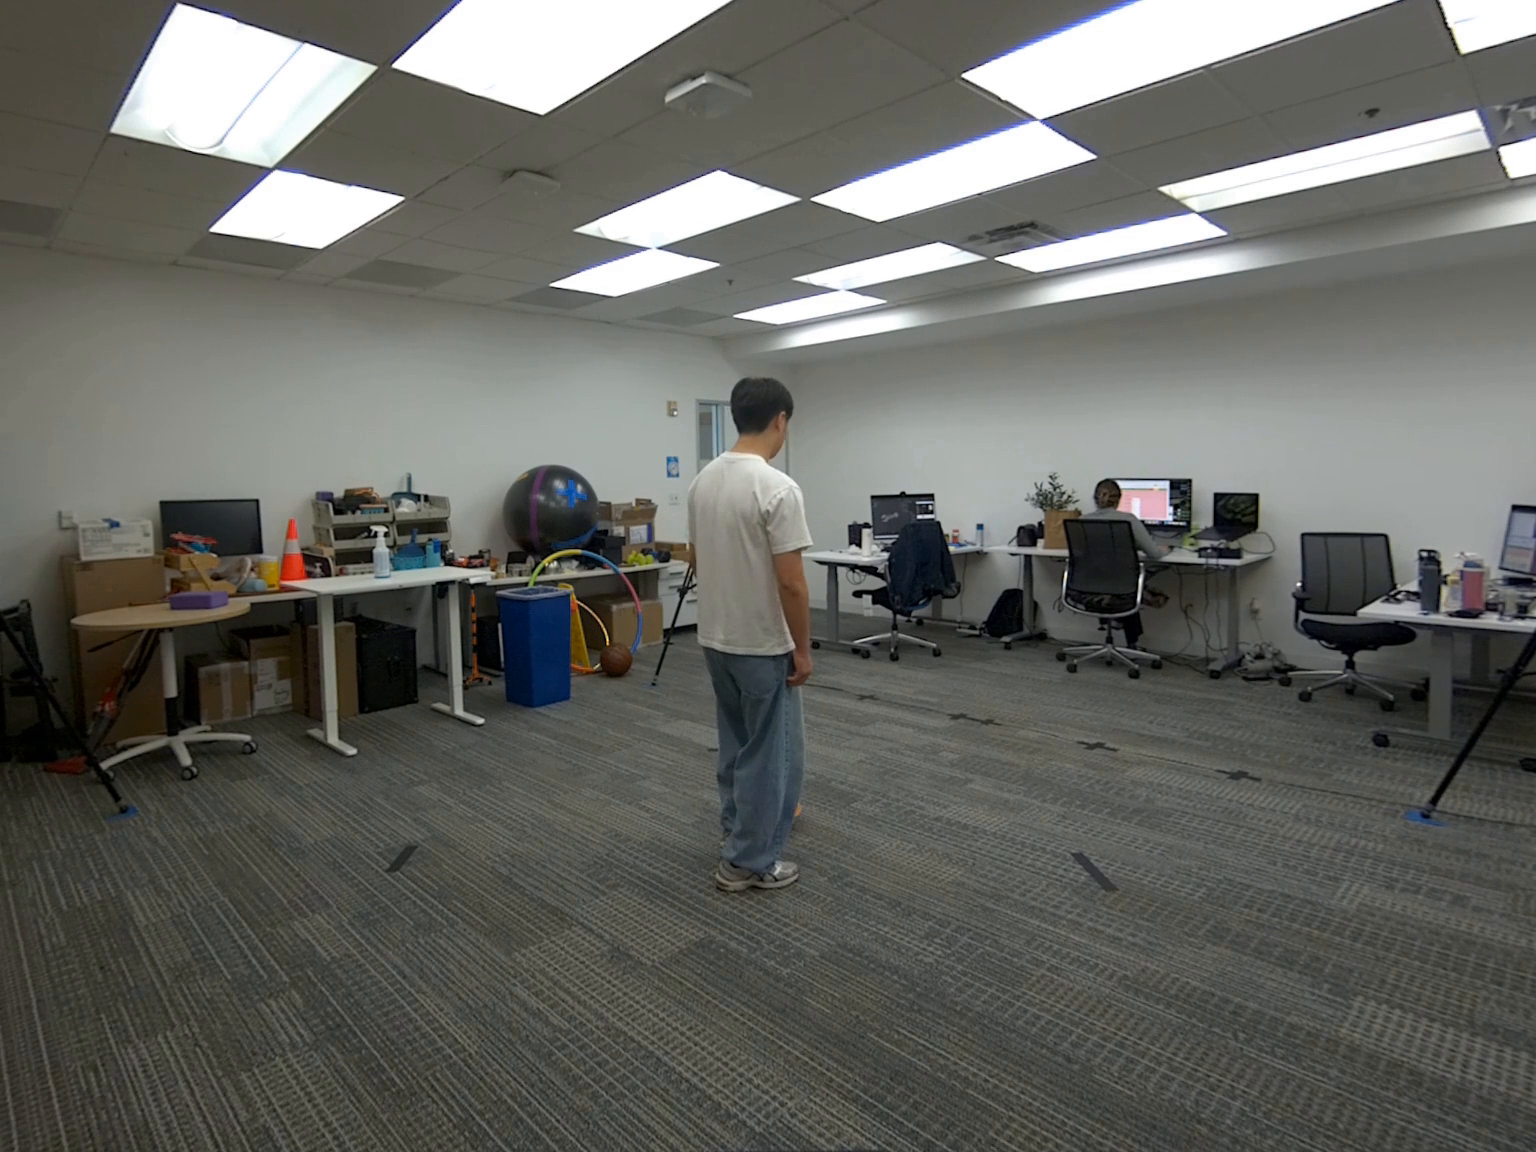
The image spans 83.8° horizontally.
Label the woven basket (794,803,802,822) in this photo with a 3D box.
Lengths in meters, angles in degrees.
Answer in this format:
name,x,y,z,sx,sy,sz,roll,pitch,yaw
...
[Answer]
name,x,y,z,sx,sy,sz,roll,pitch,yaw
woven basket,0.011,0.962,3.503,0.252,0.073,0.353,-2,7,-3
